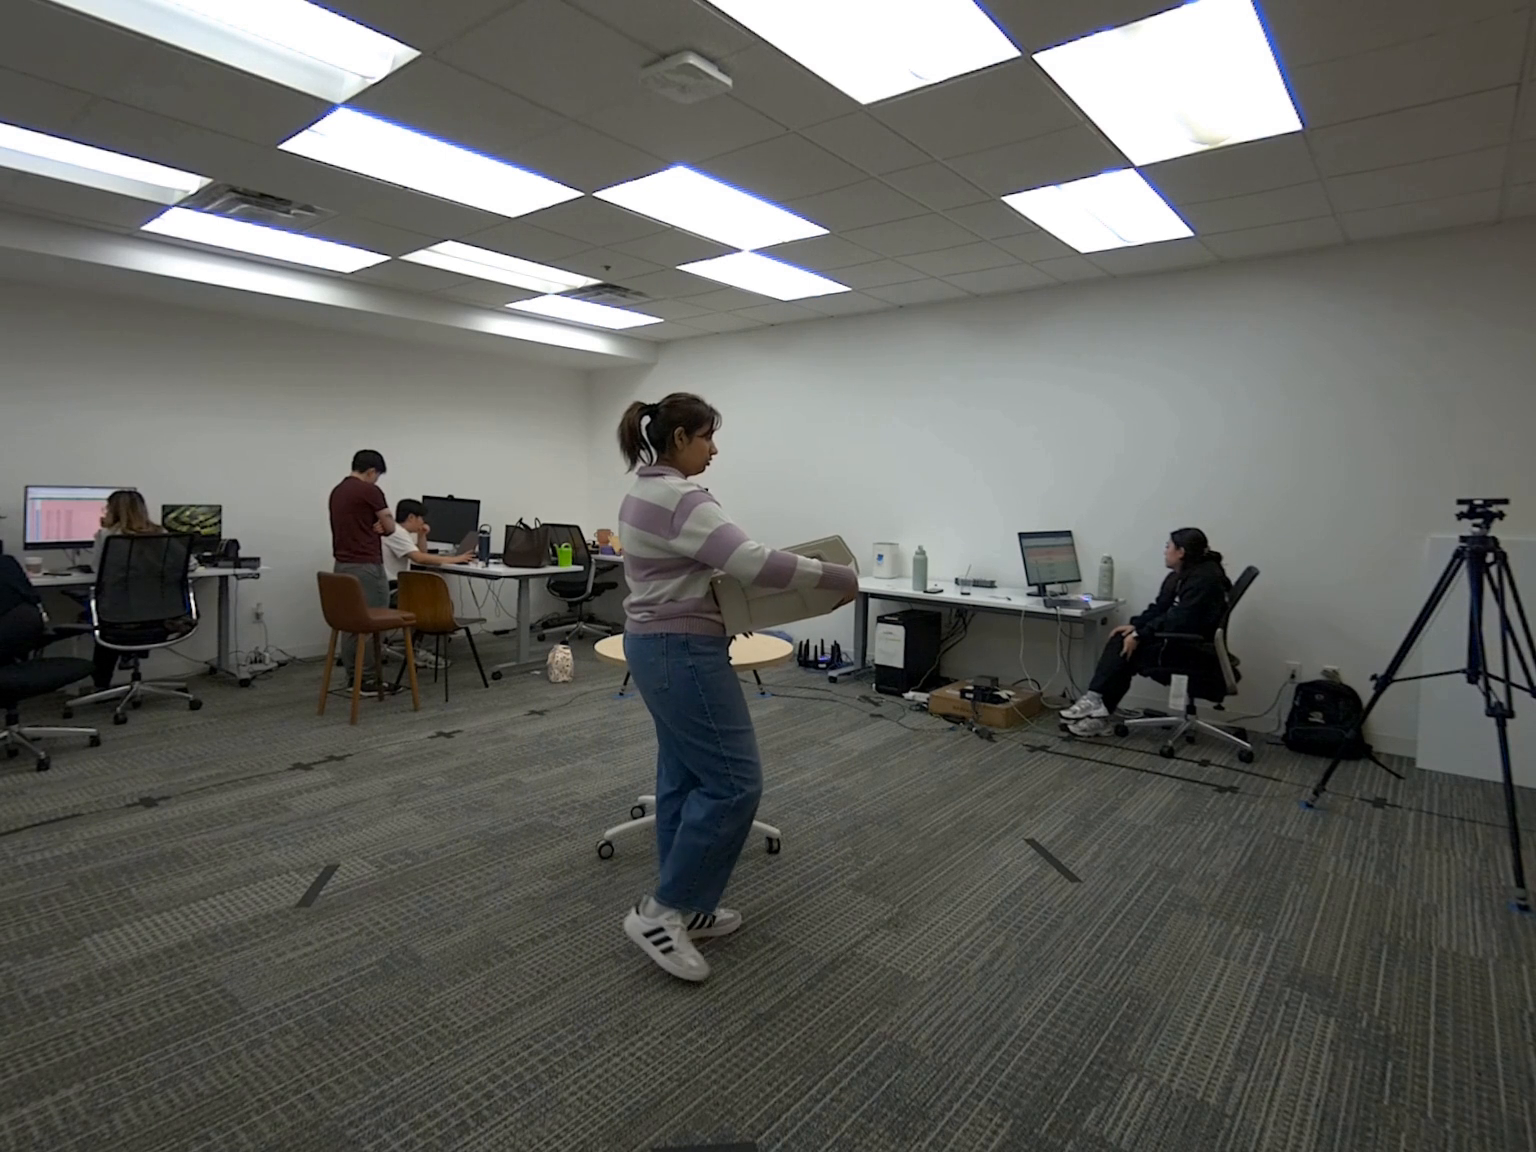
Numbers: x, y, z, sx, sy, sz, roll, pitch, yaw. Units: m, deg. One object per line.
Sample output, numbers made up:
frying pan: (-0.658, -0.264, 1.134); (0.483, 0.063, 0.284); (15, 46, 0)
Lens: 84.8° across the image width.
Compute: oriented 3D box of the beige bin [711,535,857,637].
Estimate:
beige bin: (0.059, 0.024, 2.570); (0.381, 0.188, 0.421); (-15, 7, 12)
